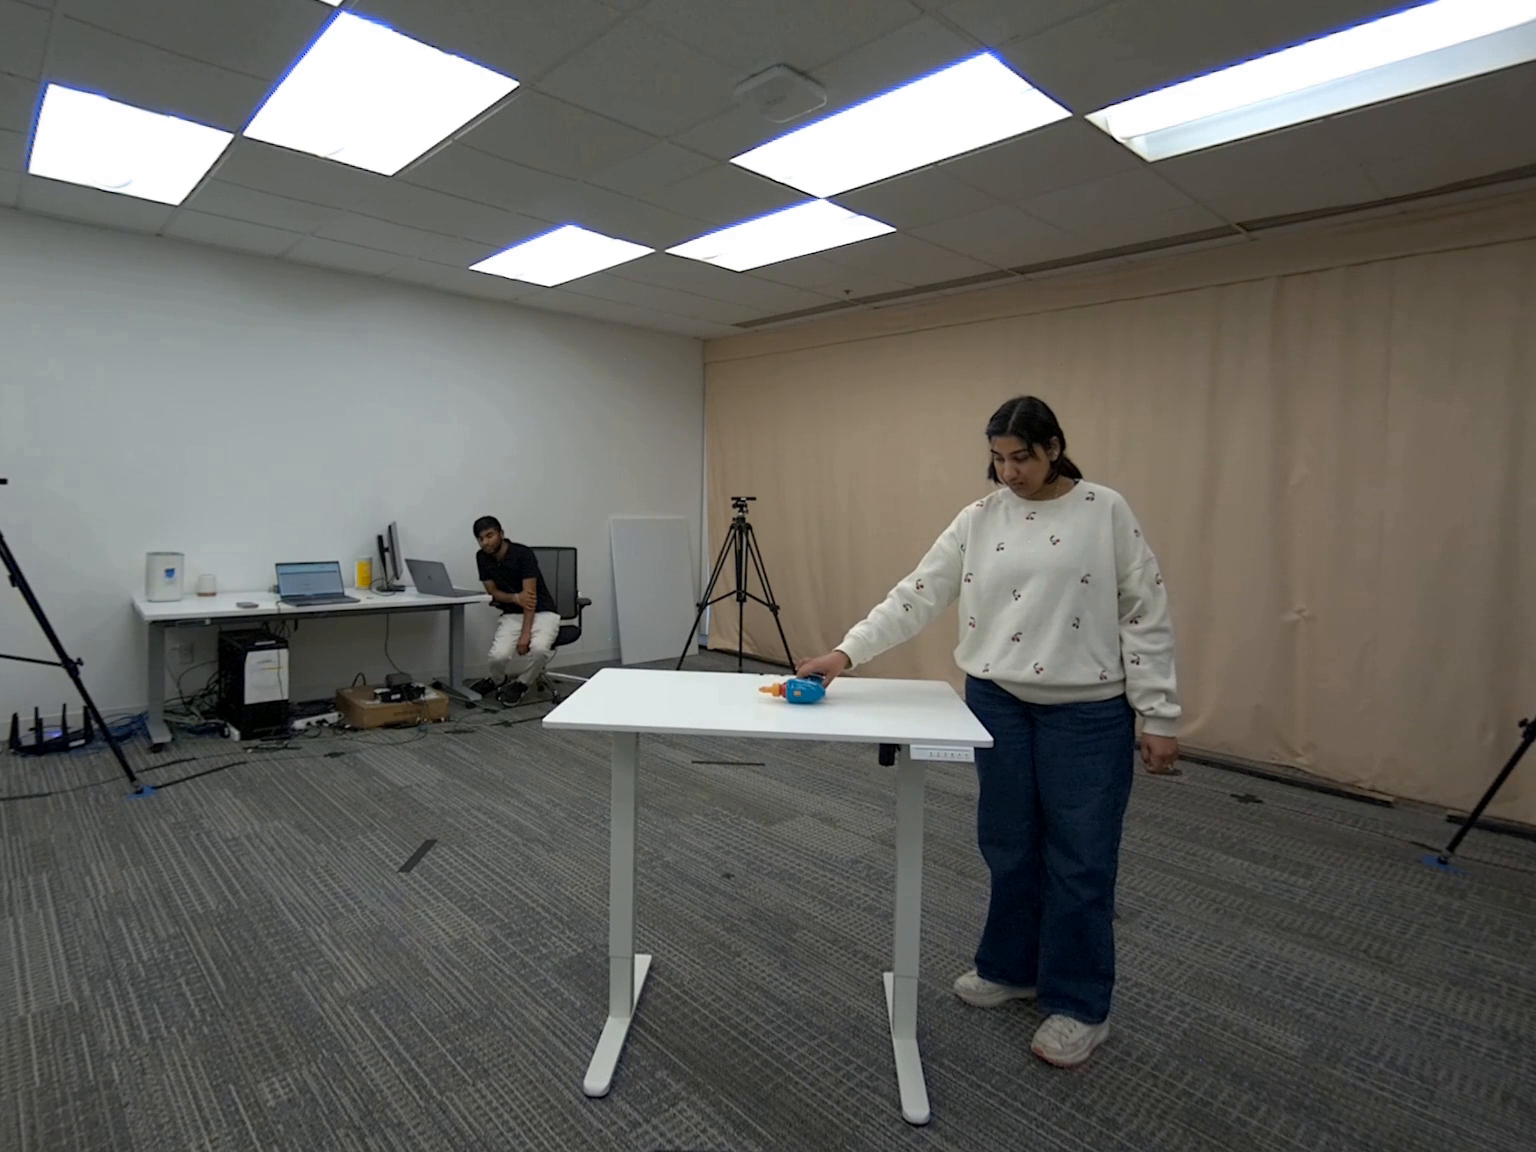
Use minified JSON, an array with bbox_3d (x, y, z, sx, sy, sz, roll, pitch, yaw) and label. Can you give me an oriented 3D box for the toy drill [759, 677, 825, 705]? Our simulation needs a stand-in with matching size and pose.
[{"bbox_3d":[0.049,0.283,2.169,0.170,0.061,0.145,0,0,4],"label":"toy drill"}]
